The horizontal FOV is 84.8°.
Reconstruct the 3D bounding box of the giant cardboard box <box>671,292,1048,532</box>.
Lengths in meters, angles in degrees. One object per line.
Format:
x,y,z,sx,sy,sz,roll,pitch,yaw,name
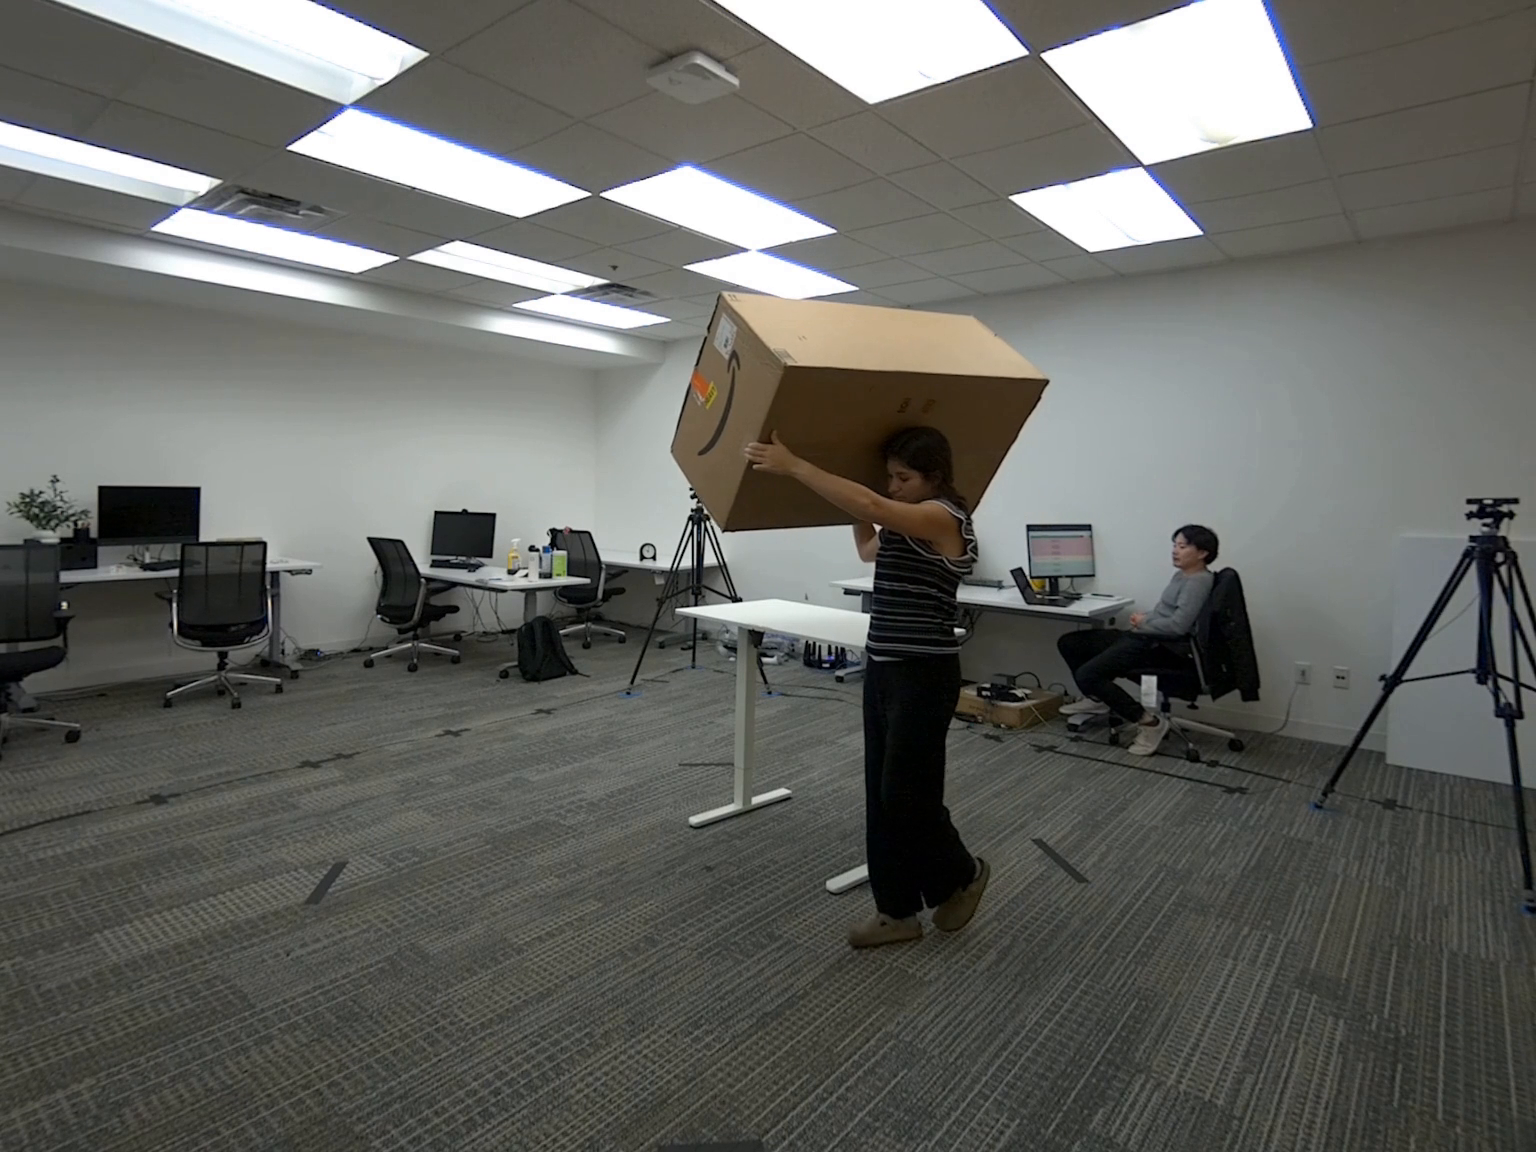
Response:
0.276,-0.516,2.754,1.000,0.569,0.444,-5,43,-30,giant cardboard box
